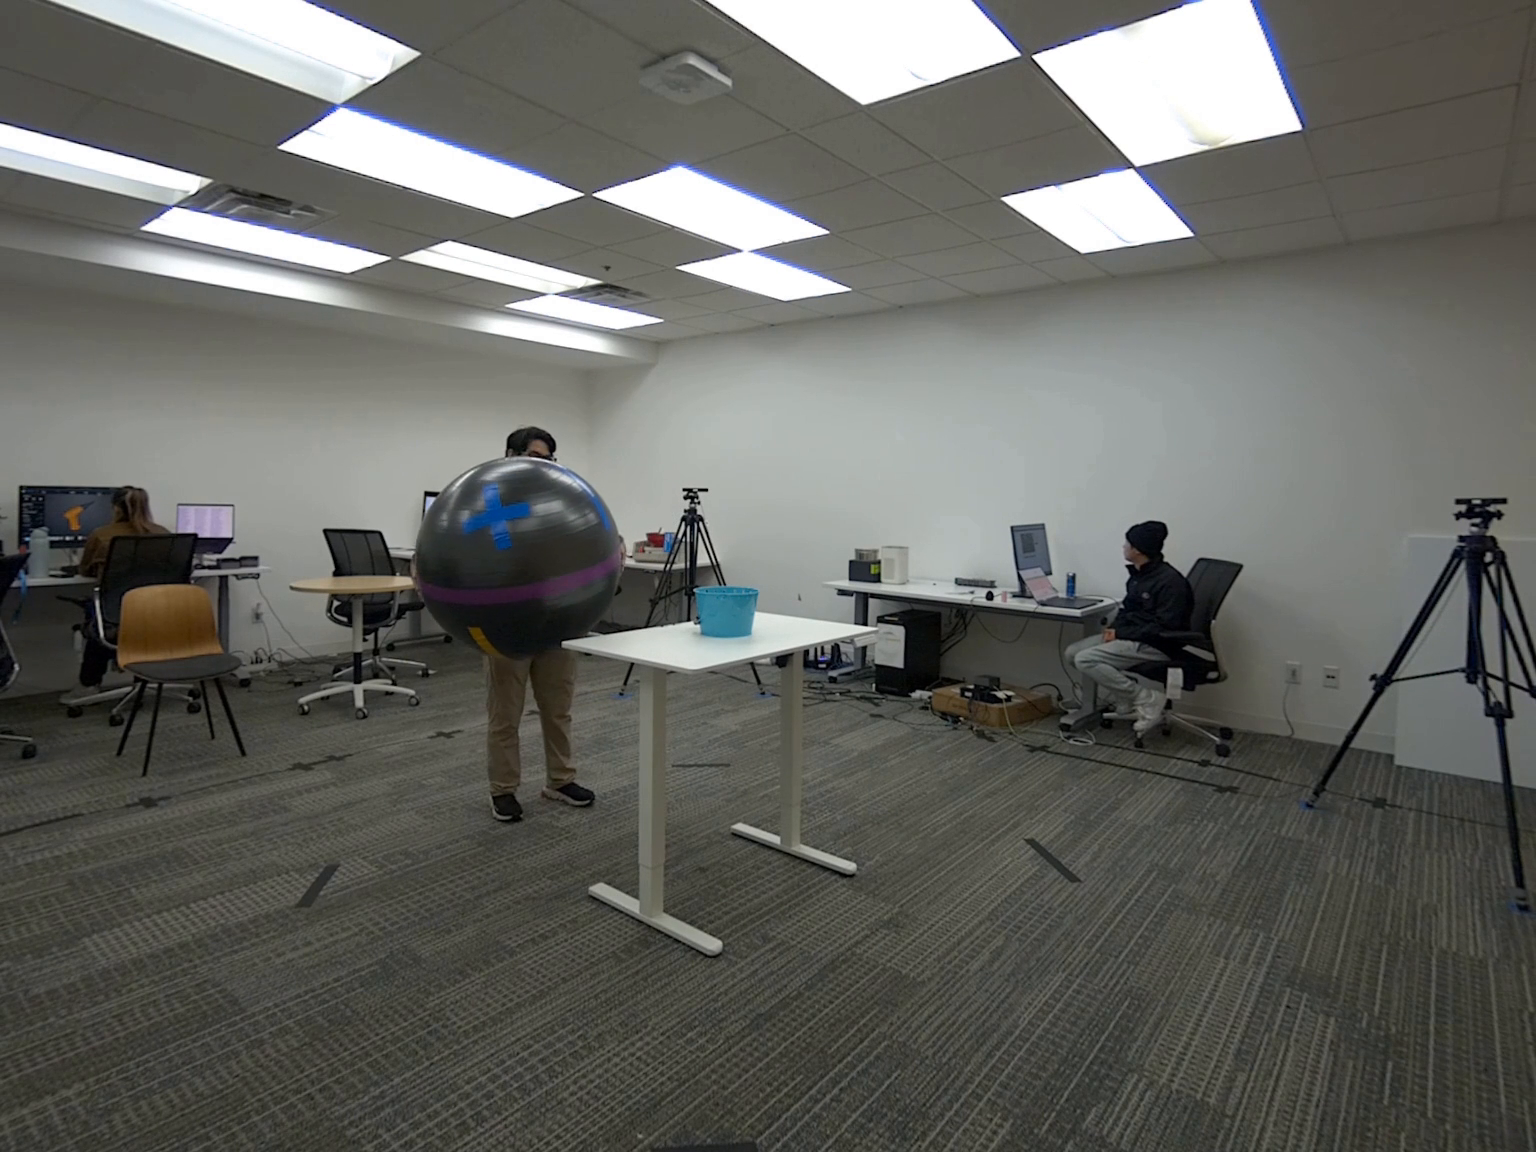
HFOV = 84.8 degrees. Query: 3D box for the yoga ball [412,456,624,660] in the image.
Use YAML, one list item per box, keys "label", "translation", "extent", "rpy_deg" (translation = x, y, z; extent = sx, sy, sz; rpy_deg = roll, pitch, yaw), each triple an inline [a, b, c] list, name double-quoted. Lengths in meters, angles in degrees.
- label: "yoga ball"
  translation: [-0.946, -0.067, 3.194]
  extent: [0.757, 0.755, 0.762]
  rpy_deg: [1, 4, -2]
